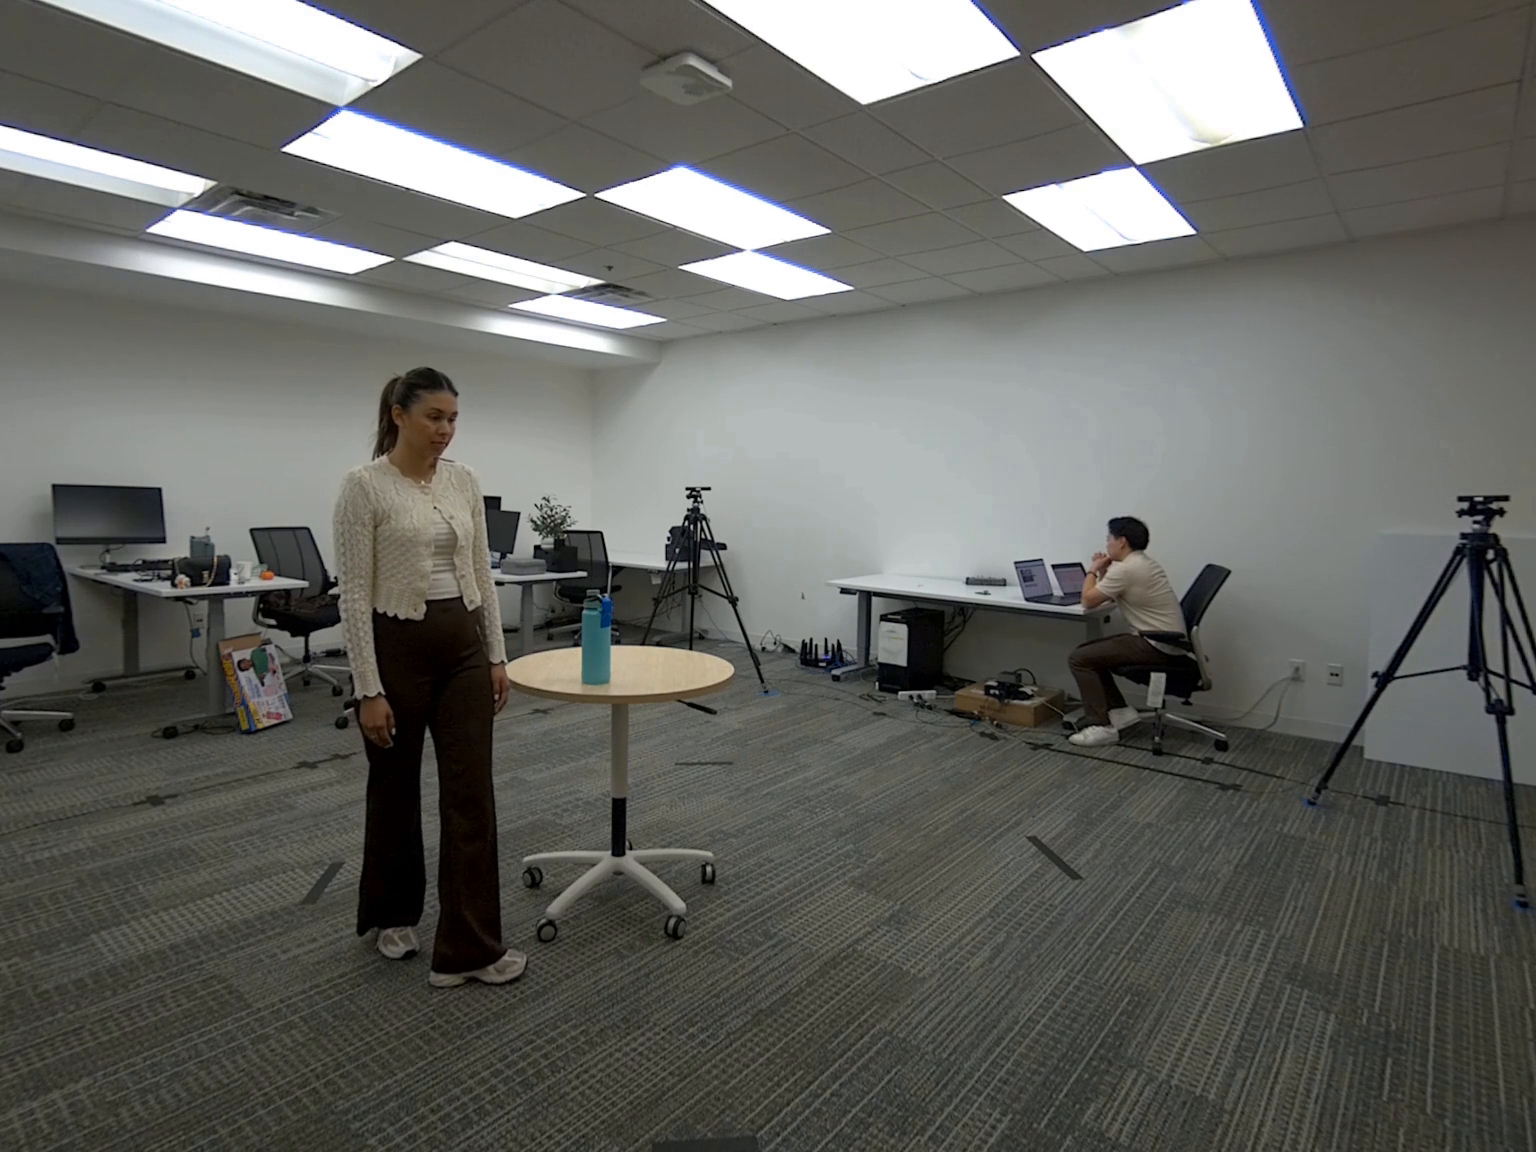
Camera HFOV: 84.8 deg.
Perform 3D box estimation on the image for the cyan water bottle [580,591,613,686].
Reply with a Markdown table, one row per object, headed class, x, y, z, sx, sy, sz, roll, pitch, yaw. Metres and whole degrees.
| class | x | y | z | sx | sy | sz | roll | pitch | yaw |
| --- | --- | --- | --- | --- | --- | --- | --- | --- | --- |
| cyan water bottle | -0.546 | 0.189 | 2.629 | 0.092 | 0.282 | 0.093 | 3 | 4 | -2 |
